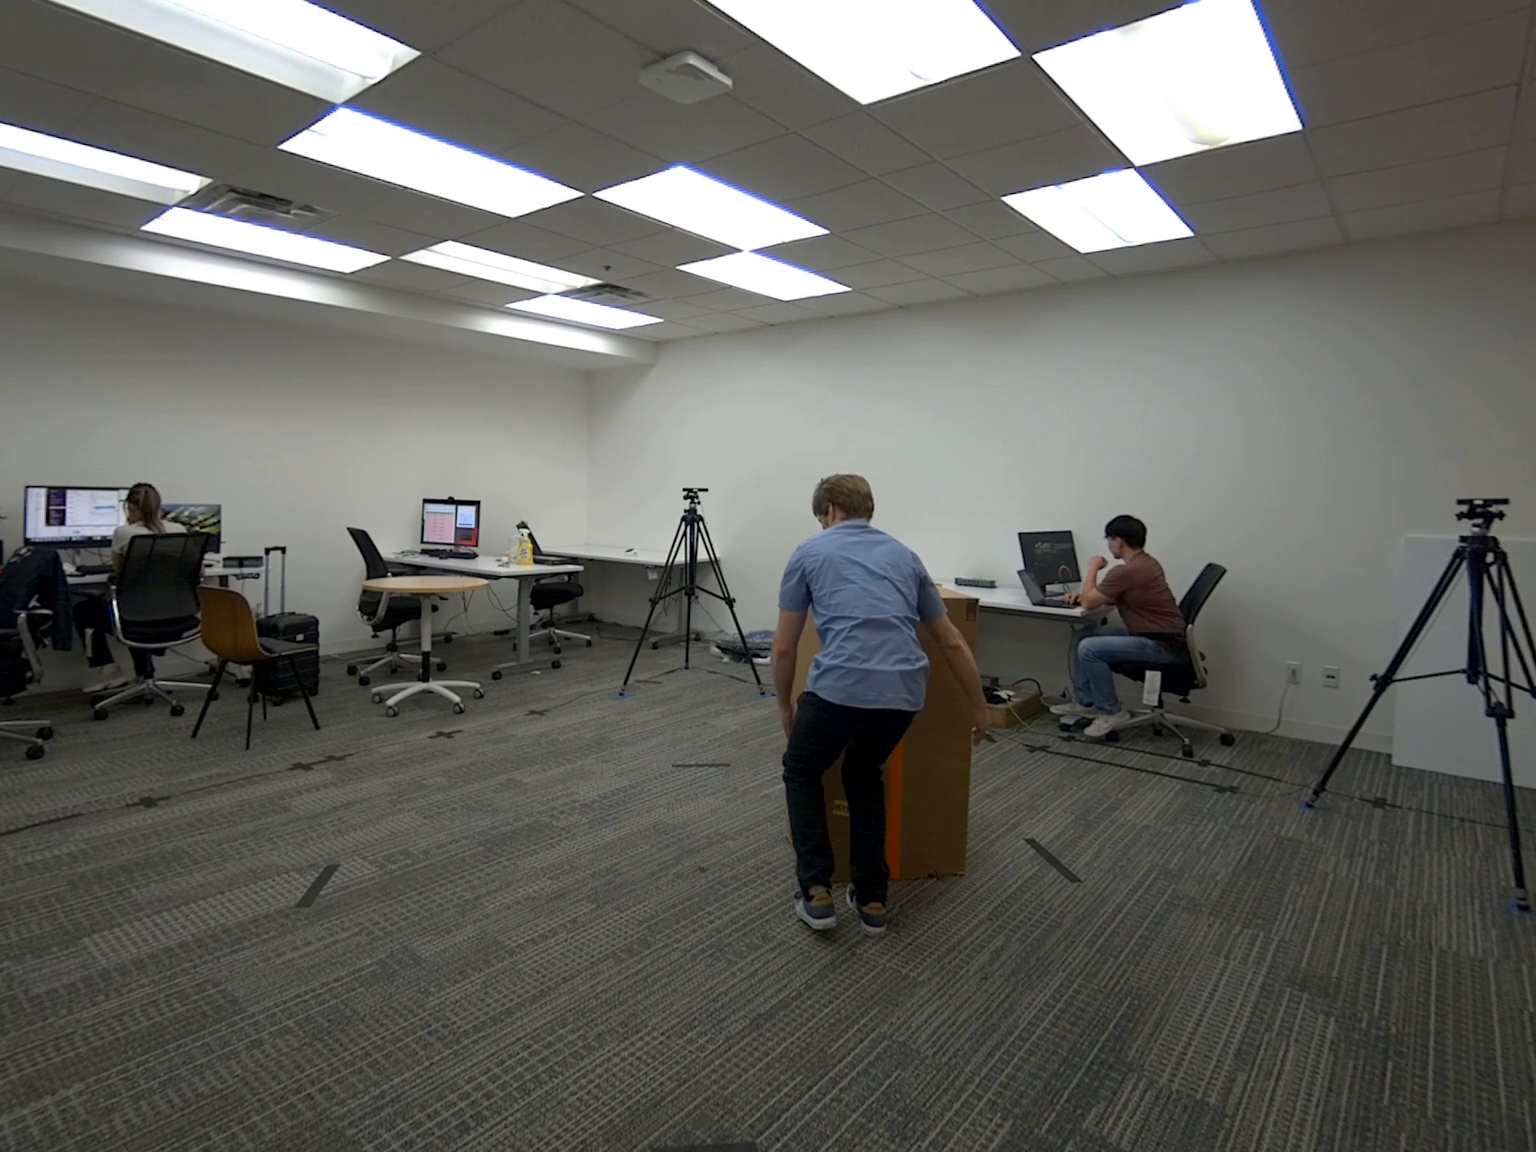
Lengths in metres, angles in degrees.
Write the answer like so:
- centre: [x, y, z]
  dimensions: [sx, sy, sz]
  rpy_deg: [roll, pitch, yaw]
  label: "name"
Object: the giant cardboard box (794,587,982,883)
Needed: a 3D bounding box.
- centre: [0.419, 0.562, 3.248]
  dimensions: [0.571, 1.023, 0.432]
  rpy_deg: [1, 3, -10]
  label: "giant cardboard box"
